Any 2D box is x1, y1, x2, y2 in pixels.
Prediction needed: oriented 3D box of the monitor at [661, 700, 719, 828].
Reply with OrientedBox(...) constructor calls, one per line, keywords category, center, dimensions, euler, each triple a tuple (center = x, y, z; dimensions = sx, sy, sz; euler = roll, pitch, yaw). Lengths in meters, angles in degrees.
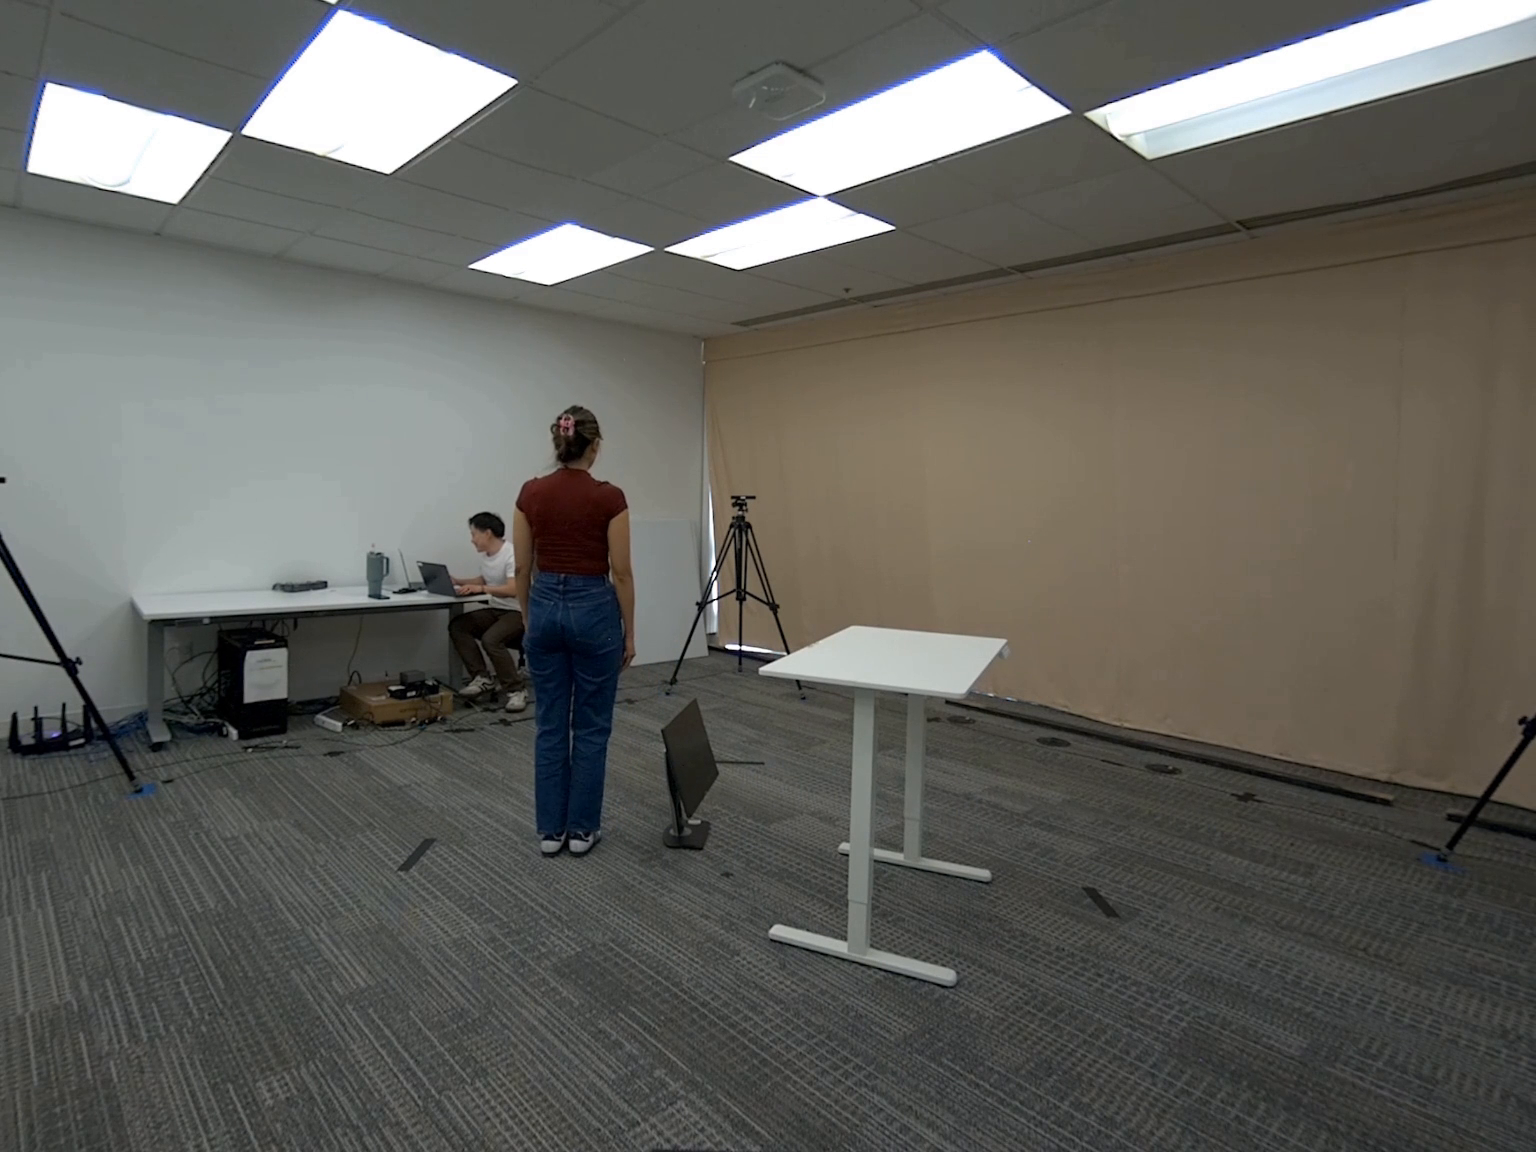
OrientedBox(category="monitor", center=(-0.353, 0.818, 3.450), dimensions=(0.188, 0.521, 0.537), euler=(-1, 5, 8))
